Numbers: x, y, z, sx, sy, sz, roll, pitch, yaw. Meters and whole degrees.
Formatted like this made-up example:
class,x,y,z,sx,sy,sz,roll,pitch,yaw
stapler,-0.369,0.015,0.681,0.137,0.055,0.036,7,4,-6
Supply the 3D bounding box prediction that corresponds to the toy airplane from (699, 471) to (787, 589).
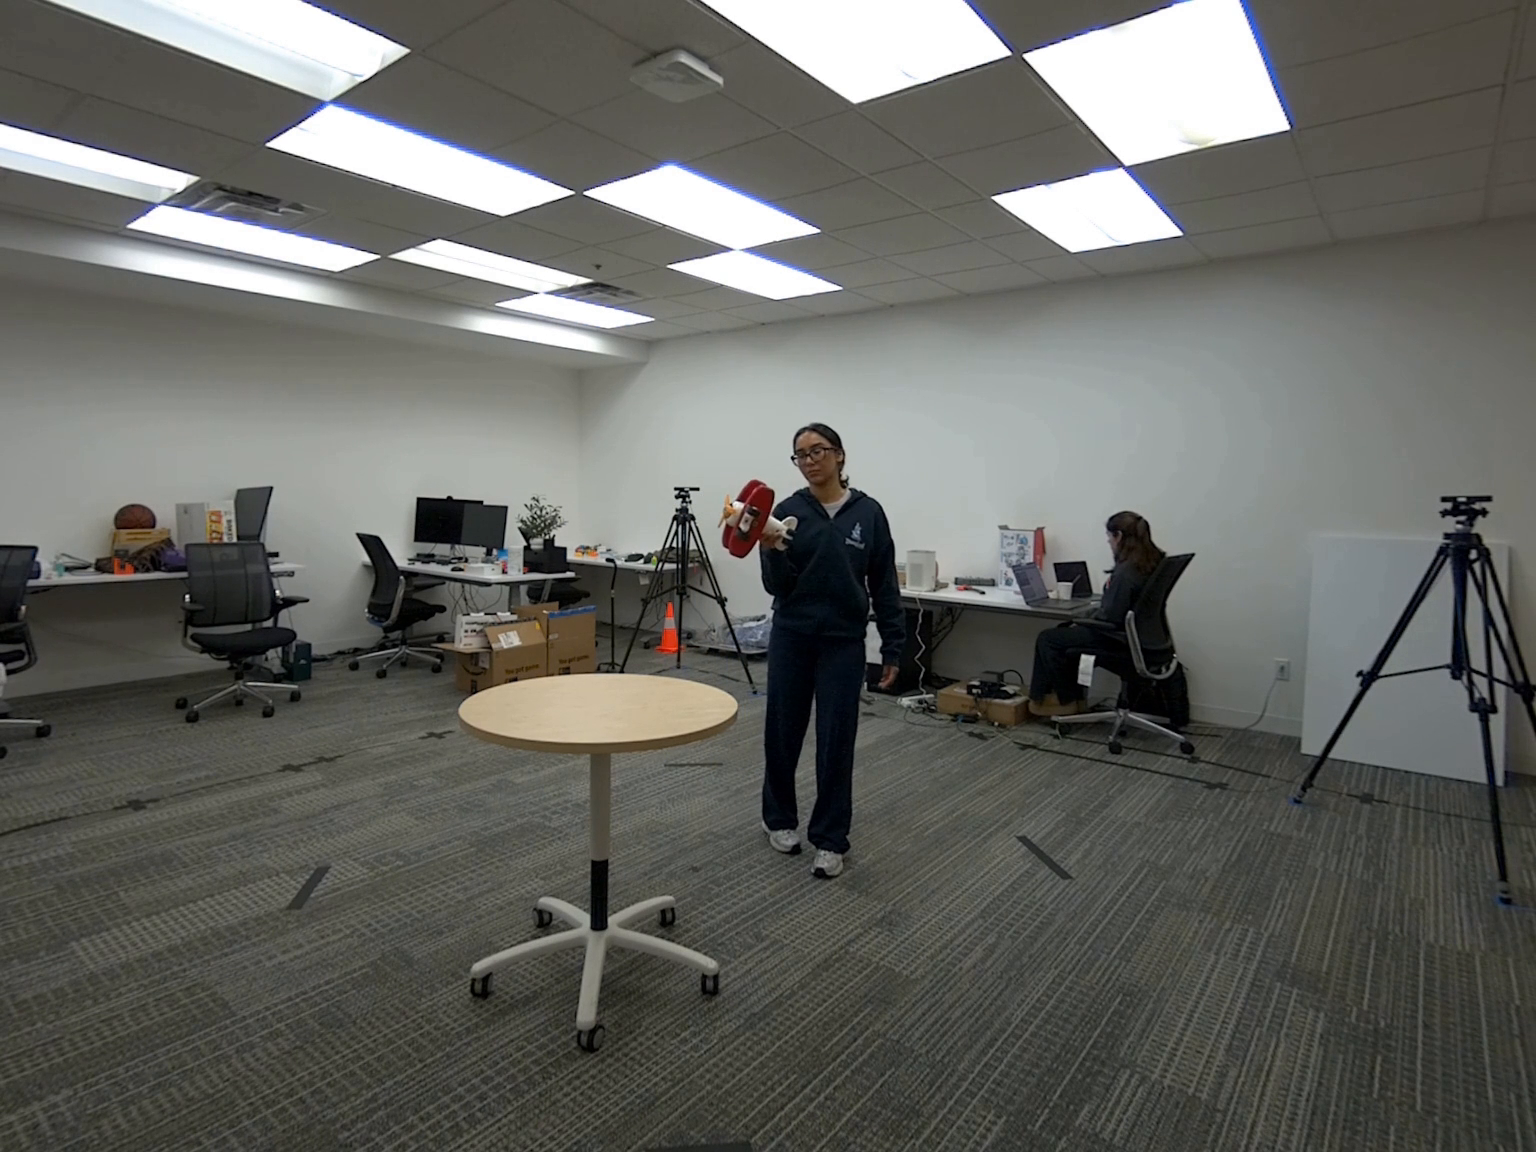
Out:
class,x,y,z,sx,sy,sz,roll,pitch,yaw
toy airplane,-0.042,-0.157,2.840,0.163,0.251,0.249,37,-13,51
